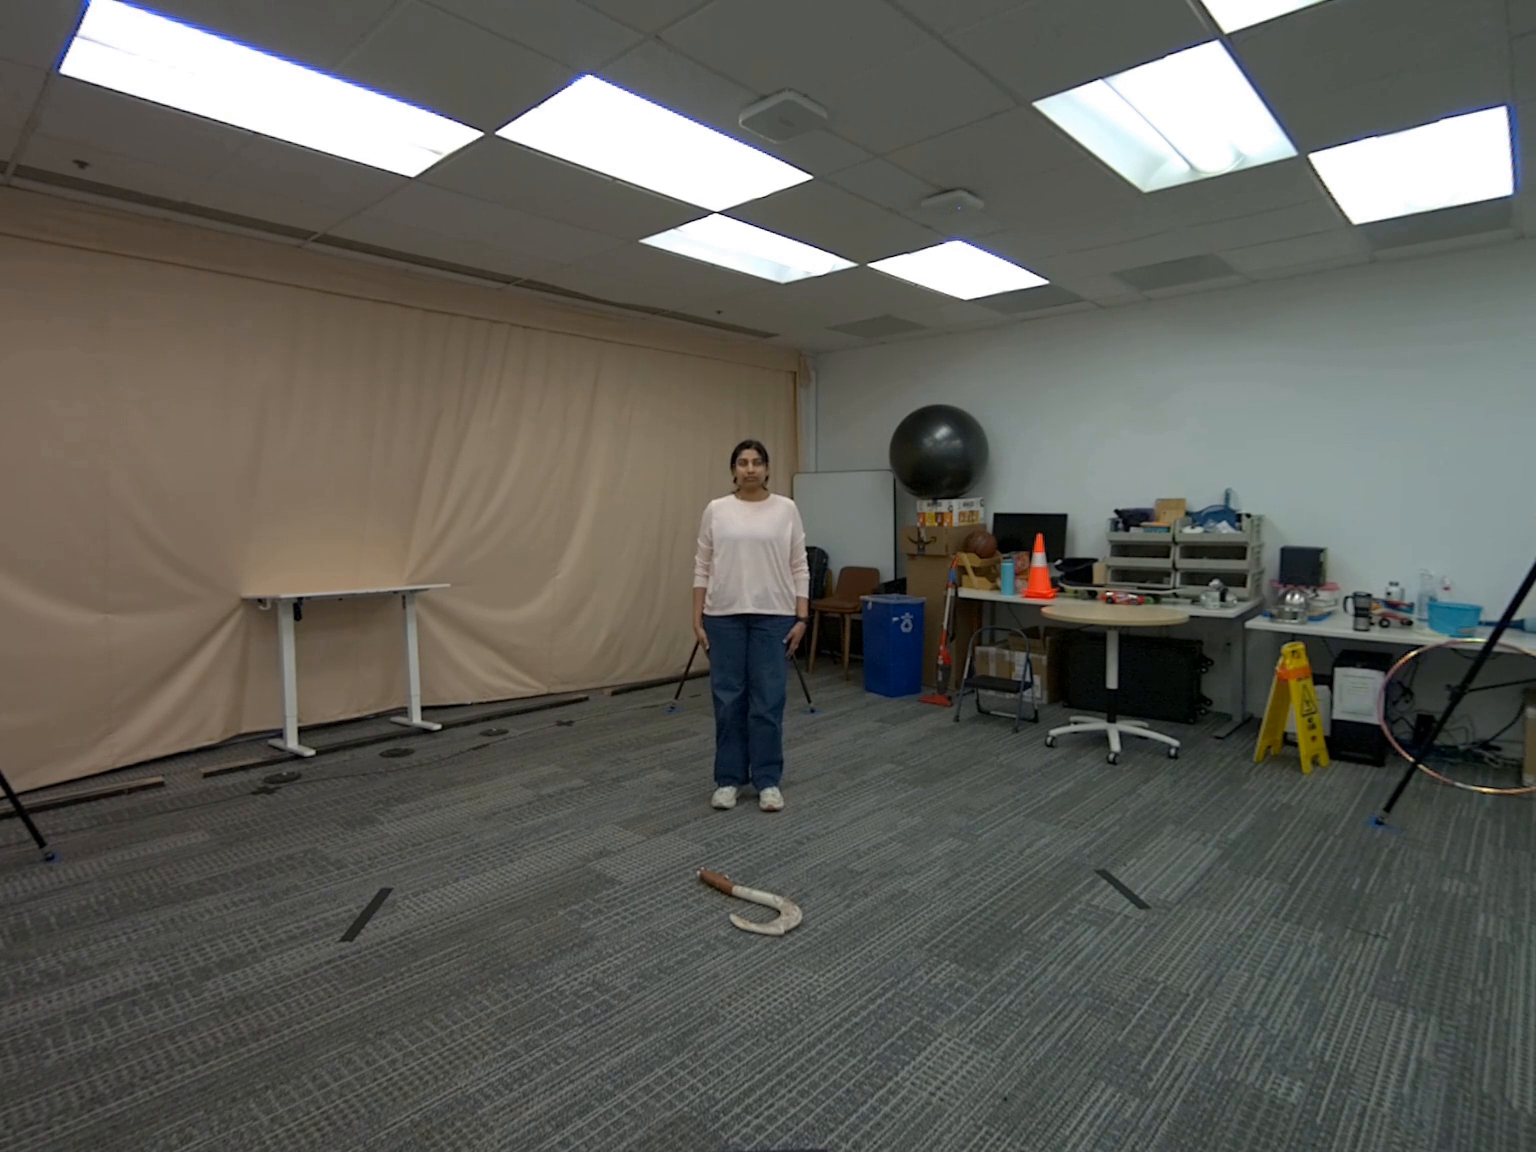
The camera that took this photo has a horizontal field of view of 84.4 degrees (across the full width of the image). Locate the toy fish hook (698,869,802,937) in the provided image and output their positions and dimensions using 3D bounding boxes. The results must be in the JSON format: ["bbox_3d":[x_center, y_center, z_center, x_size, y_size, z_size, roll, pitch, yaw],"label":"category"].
[{"bbox_3d":[-0.109,1.122,2.931,0.218,0.048,0.523,-4,6,-44],"label":"toy fish hook"}]
